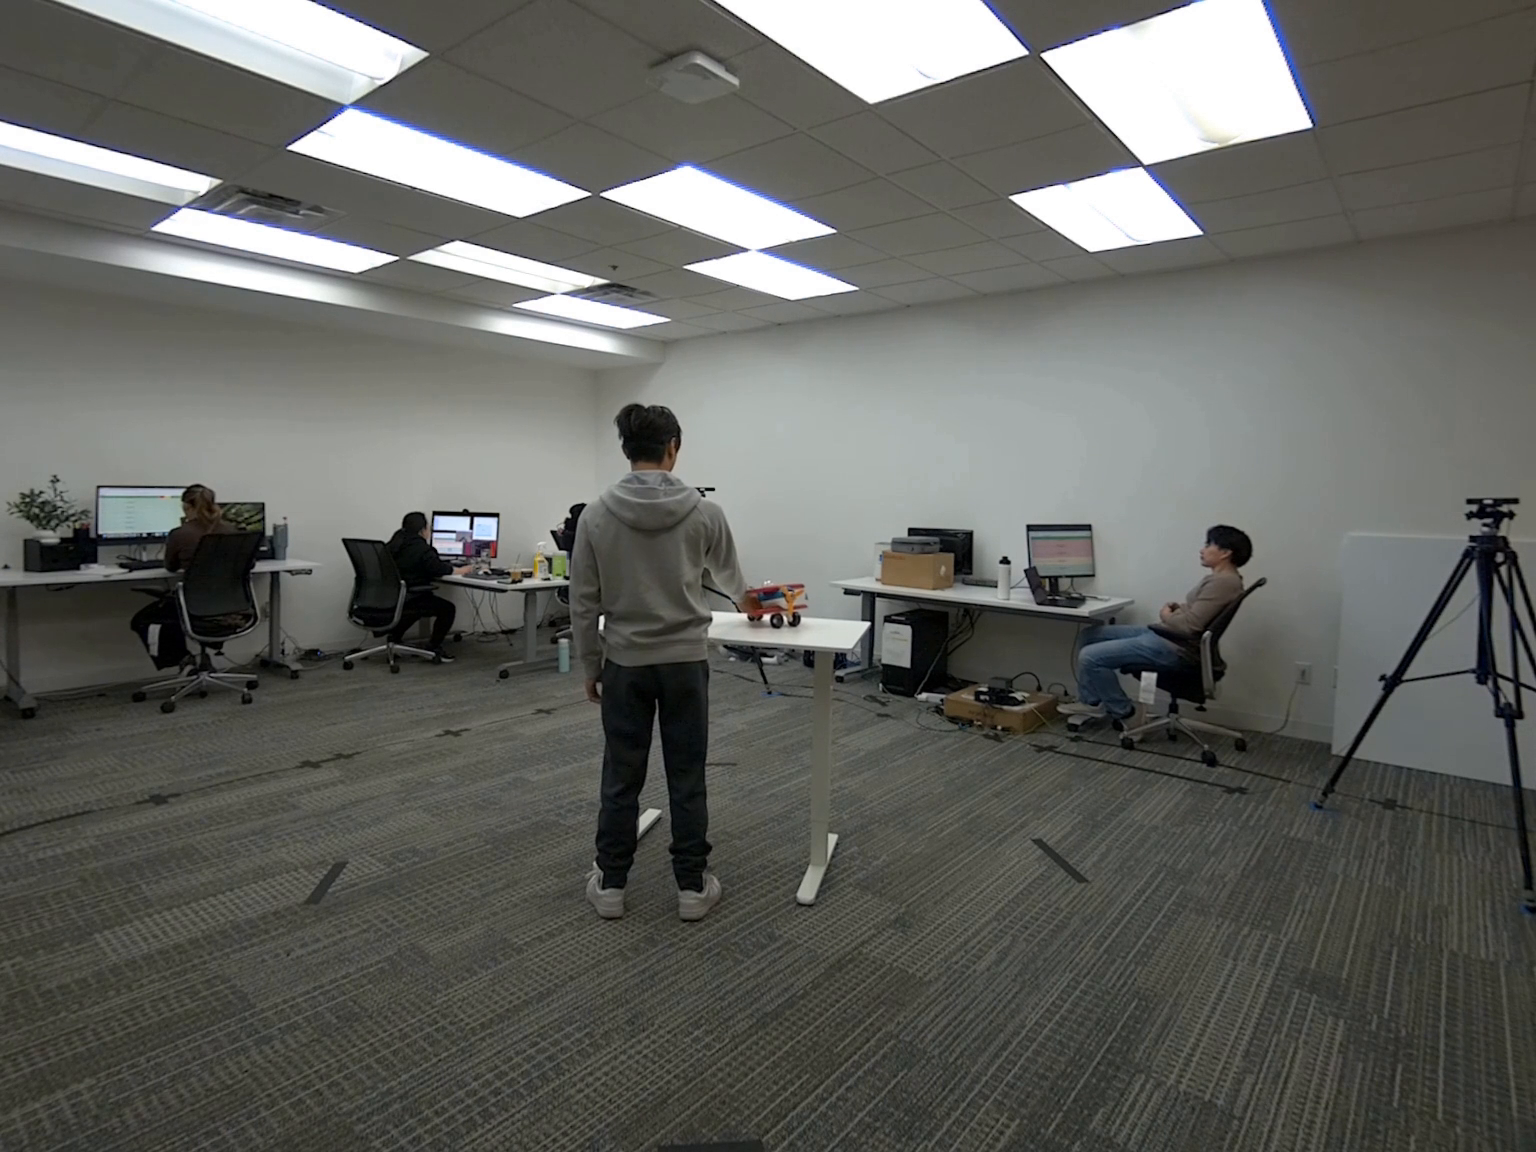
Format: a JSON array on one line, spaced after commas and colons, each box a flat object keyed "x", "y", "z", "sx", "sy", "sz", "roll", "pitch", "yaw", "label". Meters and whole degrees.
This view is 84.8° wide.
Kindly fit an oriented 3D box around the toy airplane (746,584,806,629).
[{"x": -0.011, "y": 0.101, "z": 3.209, "sx": 0.266, "sy": 0.156, "sz": 0.246, "roll": 4, "pitch": 5, "yaw": 23, "label": "toy airplane"}]
